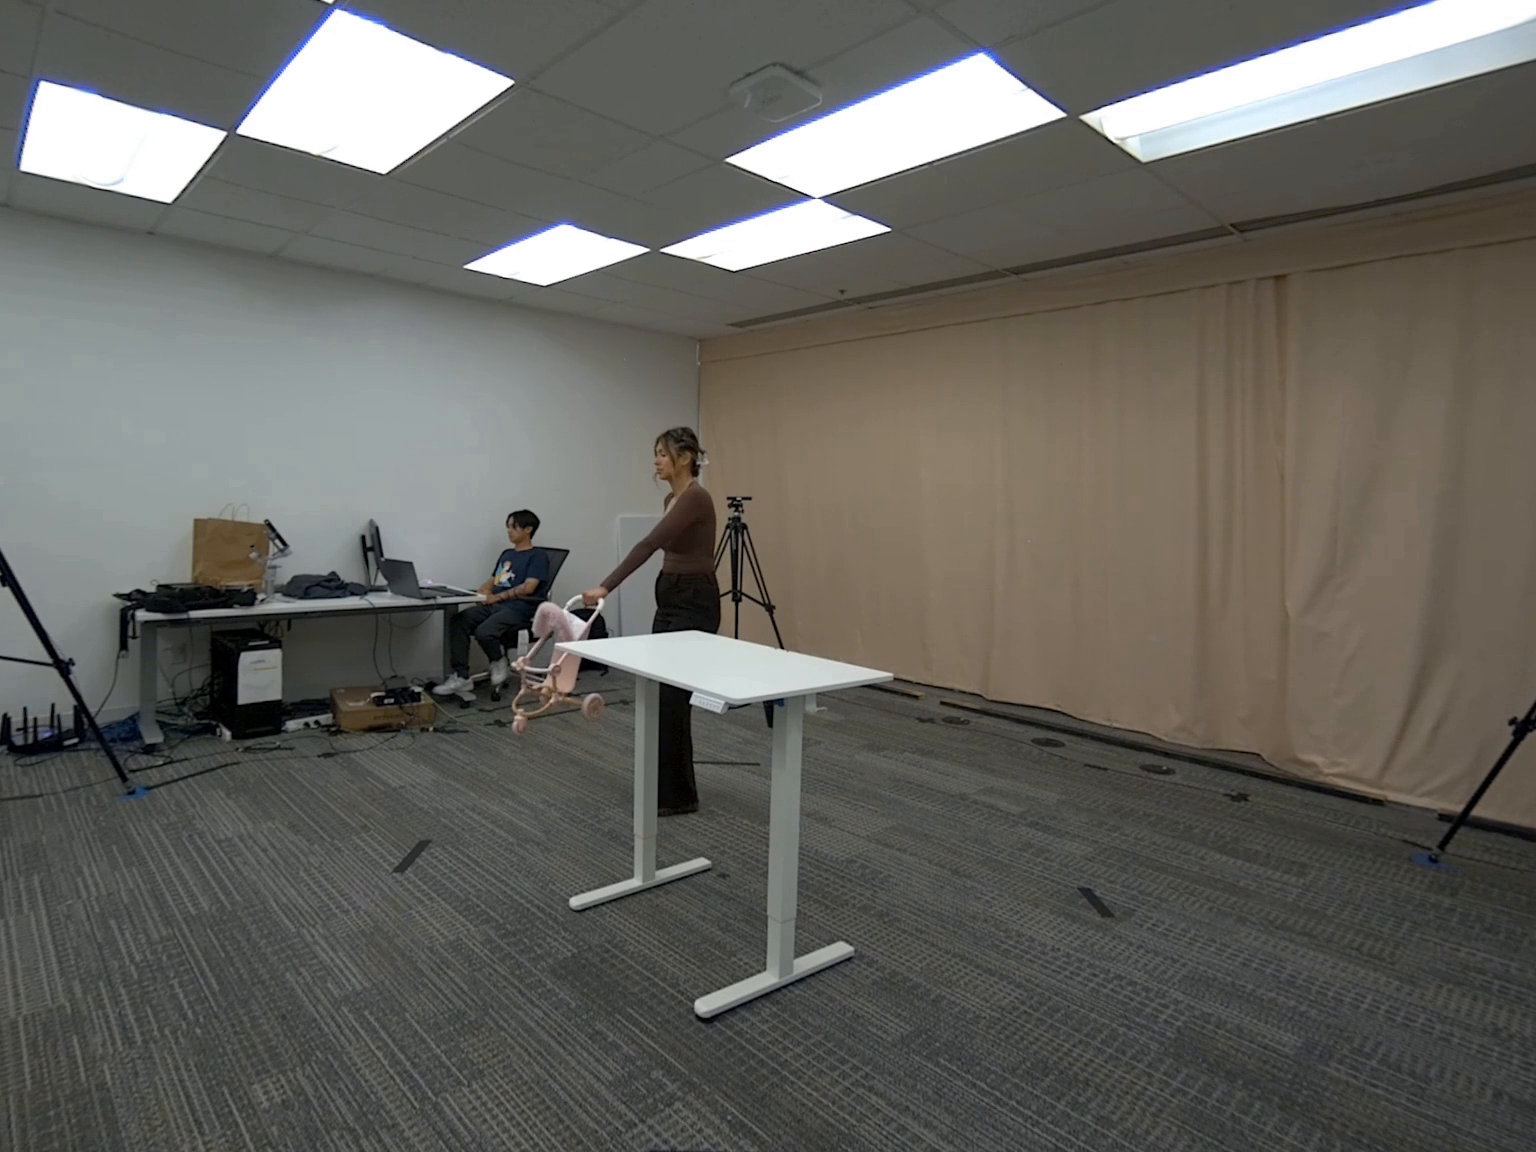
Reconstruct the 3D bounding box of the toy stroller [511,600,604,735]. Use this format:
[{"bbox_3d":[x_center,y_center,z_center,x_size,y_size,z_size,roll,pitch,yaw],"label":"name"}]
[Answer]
[{"bbox_3d":[-0.837,0.348,3.283,0.289,0.535,0.332,6,0,42],"label":"toy stroller"}]
